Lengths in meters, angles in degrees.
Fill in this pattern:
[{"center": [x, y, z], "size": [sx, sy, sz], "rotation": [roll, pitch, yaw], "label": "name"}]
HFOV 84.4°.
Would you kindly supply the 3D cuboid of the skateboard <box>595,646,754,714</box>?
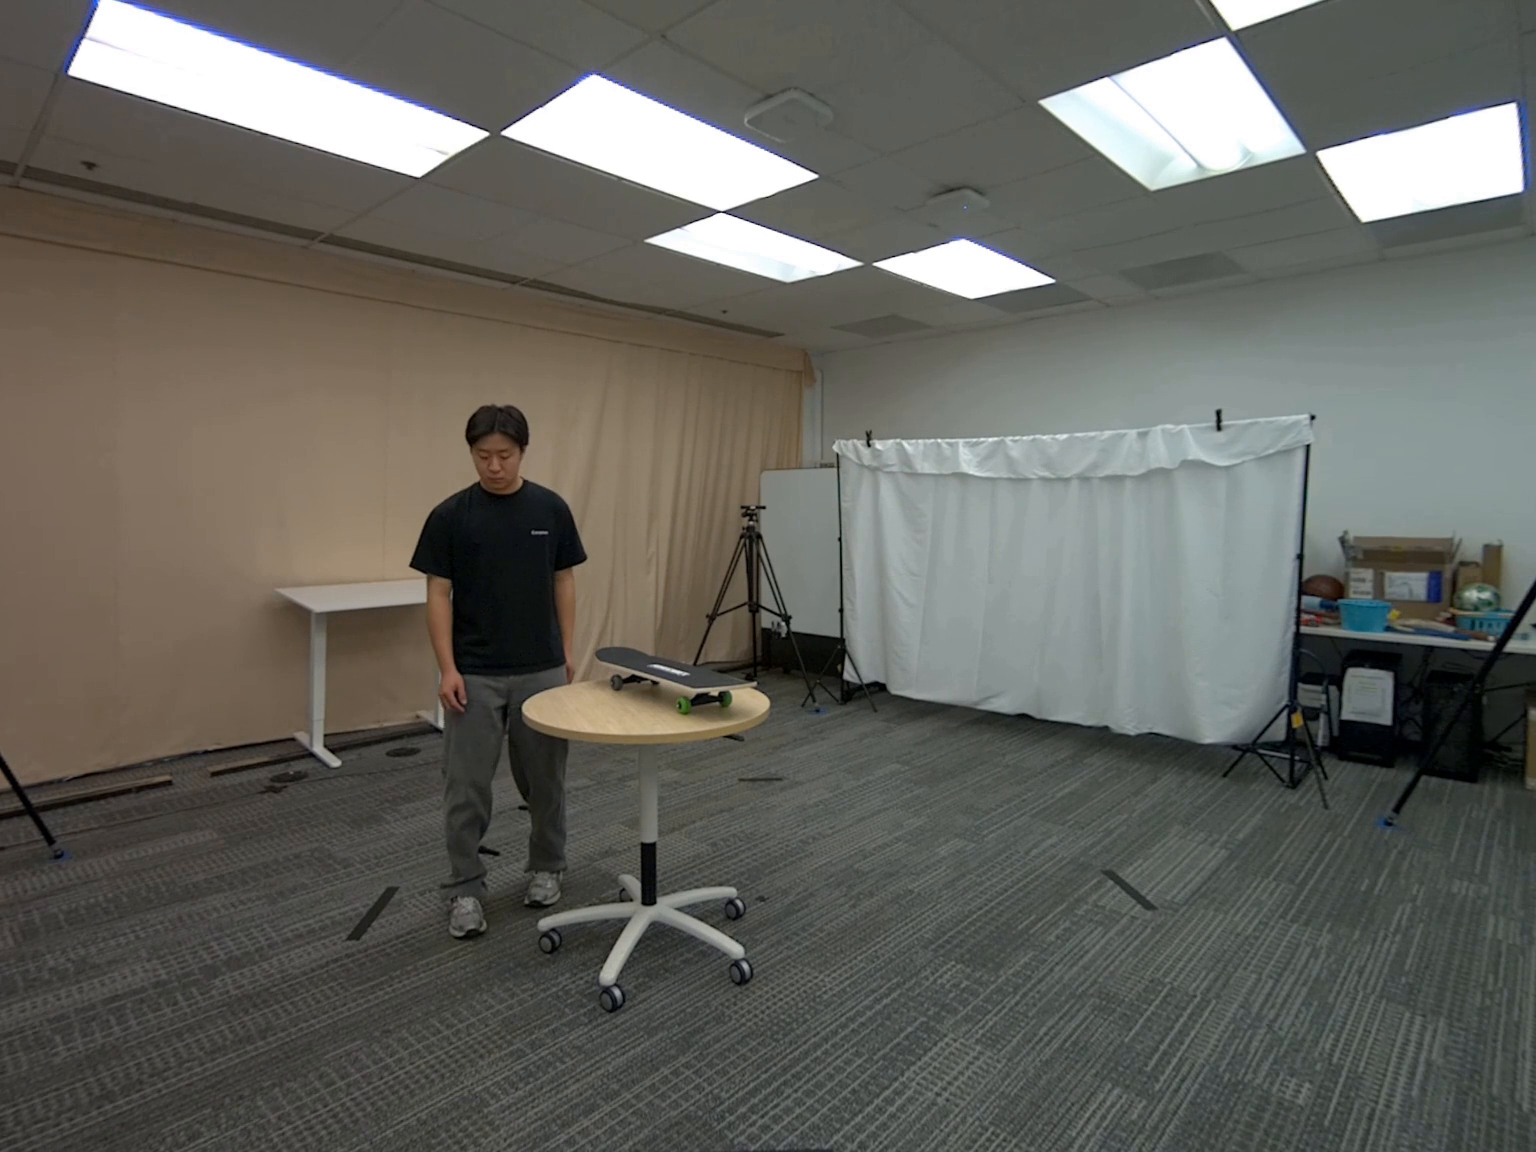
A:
[{"center": [-0.314, 0.336, 2.695], "size": [0.188, 0.110, 0.810], "rotation": [-2, 5, -36], "label": "skateboard"}]
